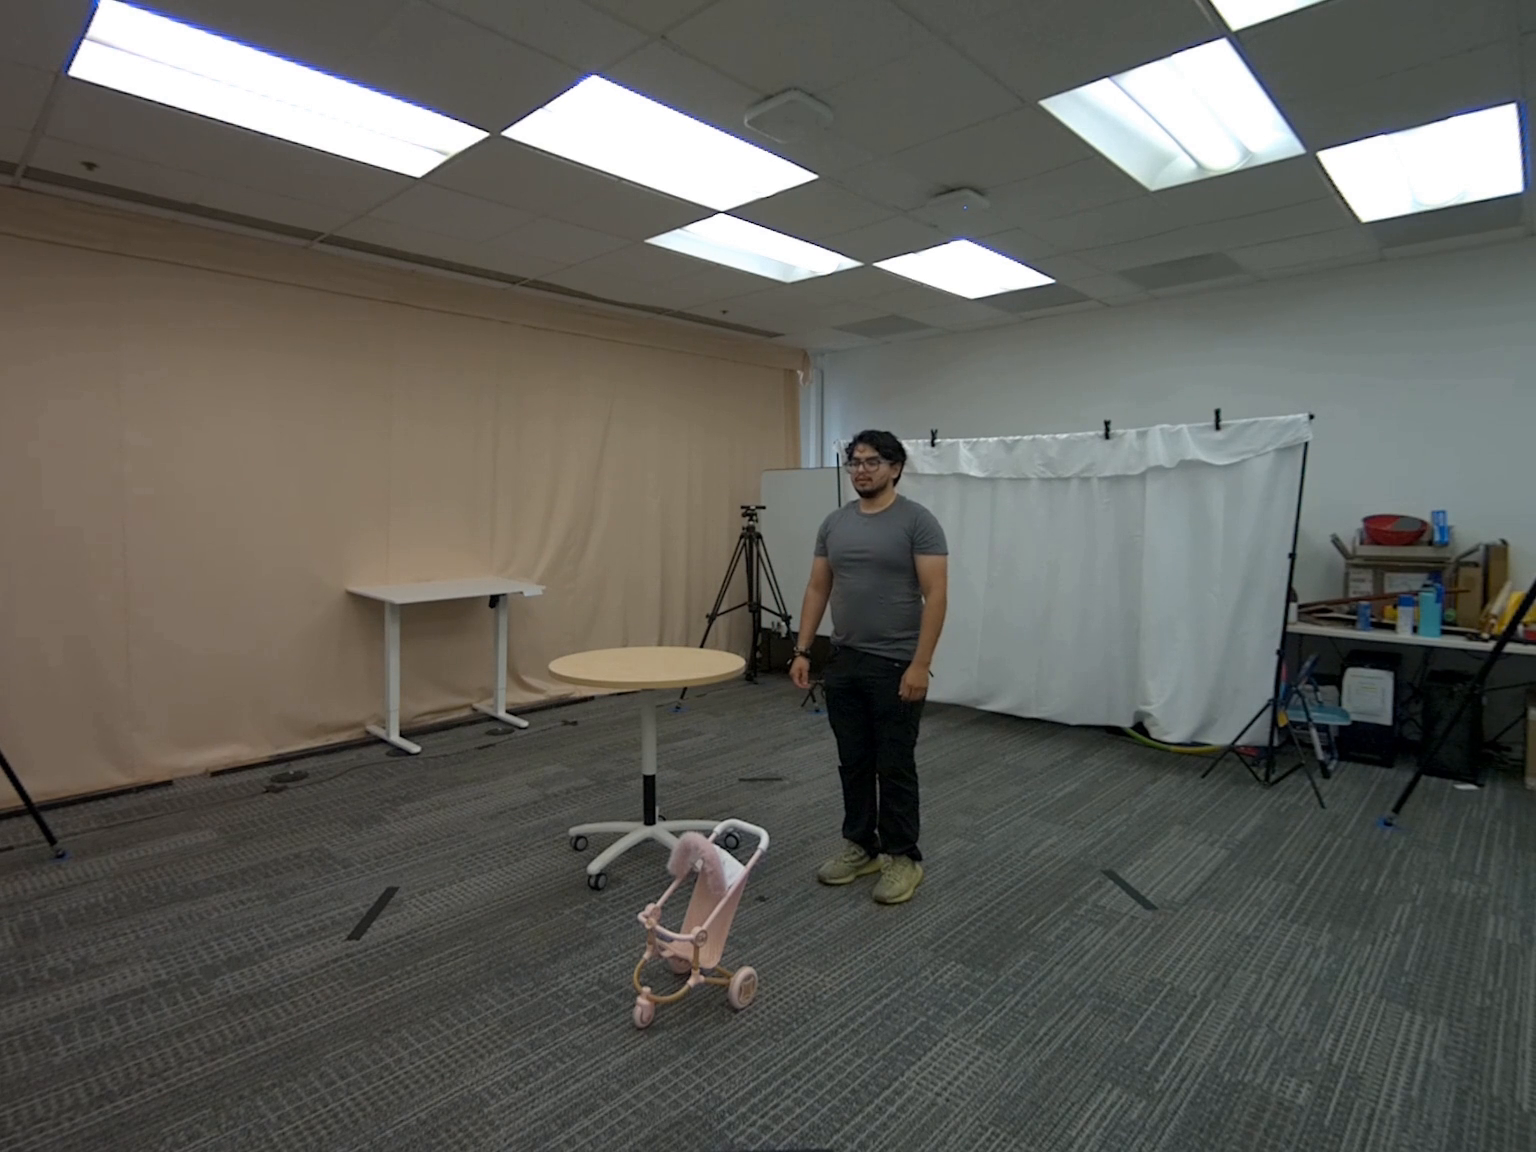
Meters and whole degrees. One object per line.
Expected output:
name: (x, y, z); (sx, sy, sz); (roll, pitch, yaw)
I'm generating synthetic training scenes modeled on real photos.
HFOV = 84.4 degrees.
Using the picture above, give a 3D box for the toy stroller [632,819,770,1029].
toy stroller: (-0.205, 0.969, 2.370); (0.329, 0.536, 0.291); (17, -9, -41)
